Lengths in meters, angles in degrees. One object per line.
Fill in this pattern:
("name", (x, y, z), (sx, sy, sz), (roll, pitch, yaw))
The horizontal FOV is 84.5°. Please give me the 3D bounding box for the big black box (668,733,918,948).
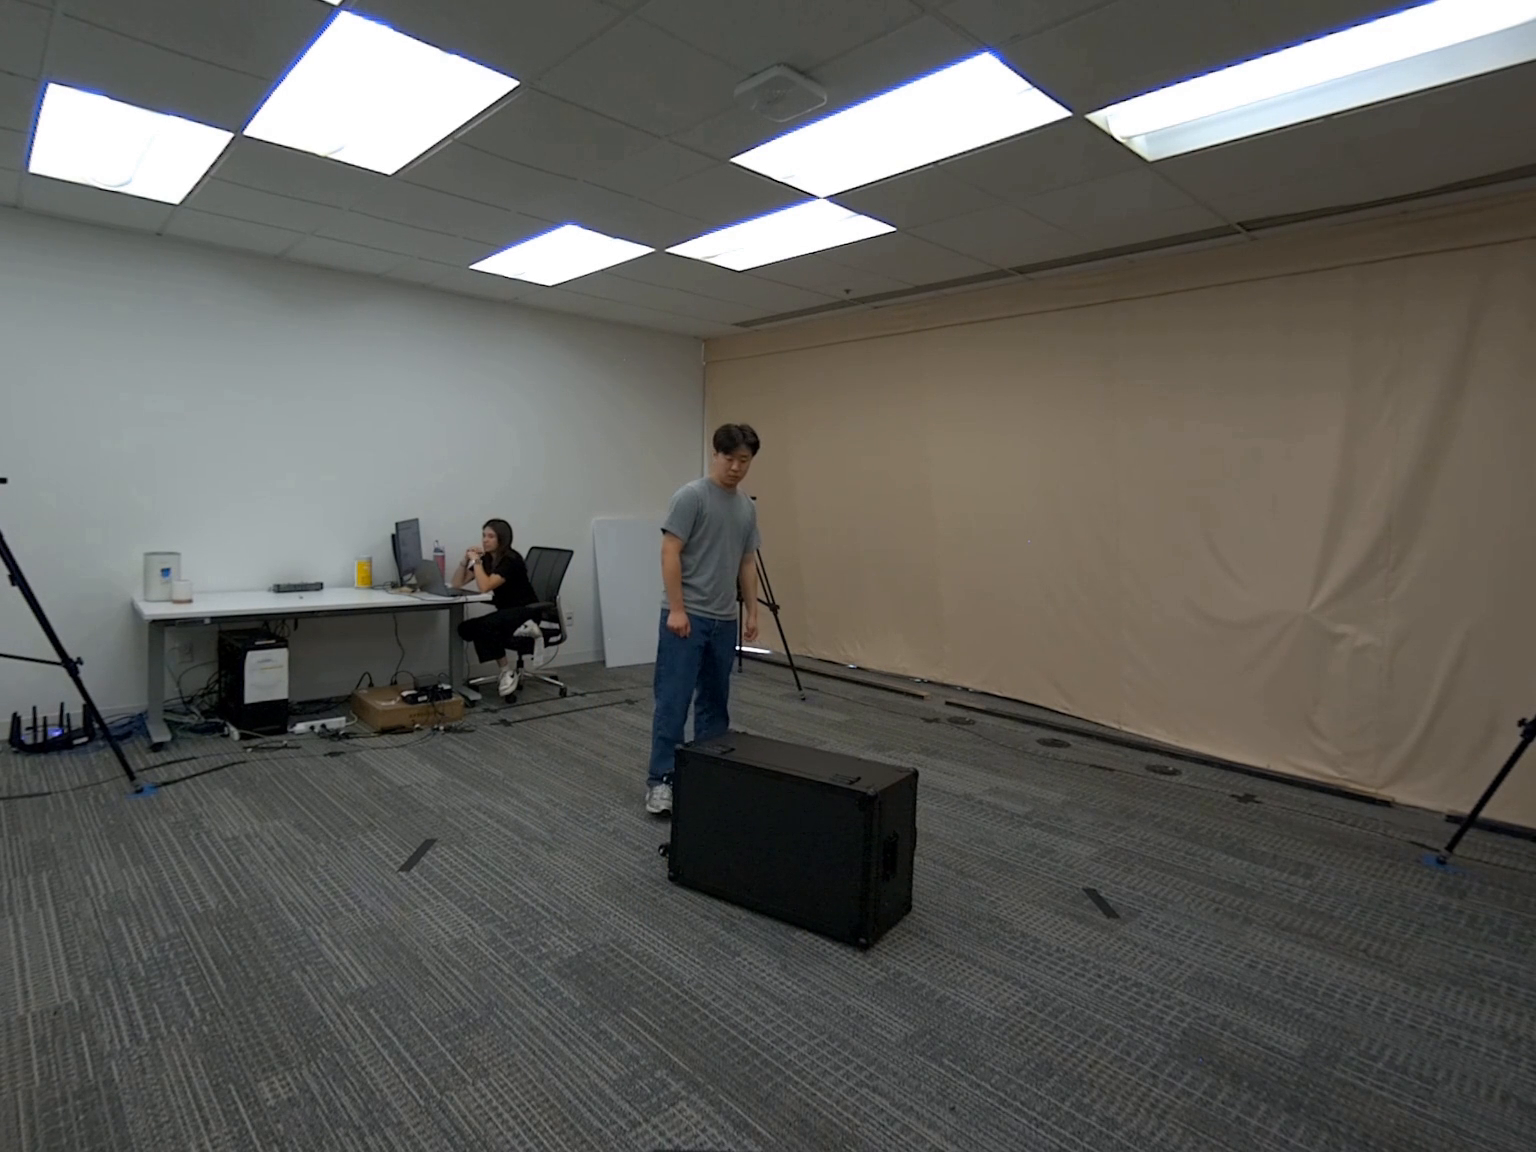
("big black box", (0.053, 0.865, 2.963), (0.881, 0.521, 0.387), (5, 2, 33))
